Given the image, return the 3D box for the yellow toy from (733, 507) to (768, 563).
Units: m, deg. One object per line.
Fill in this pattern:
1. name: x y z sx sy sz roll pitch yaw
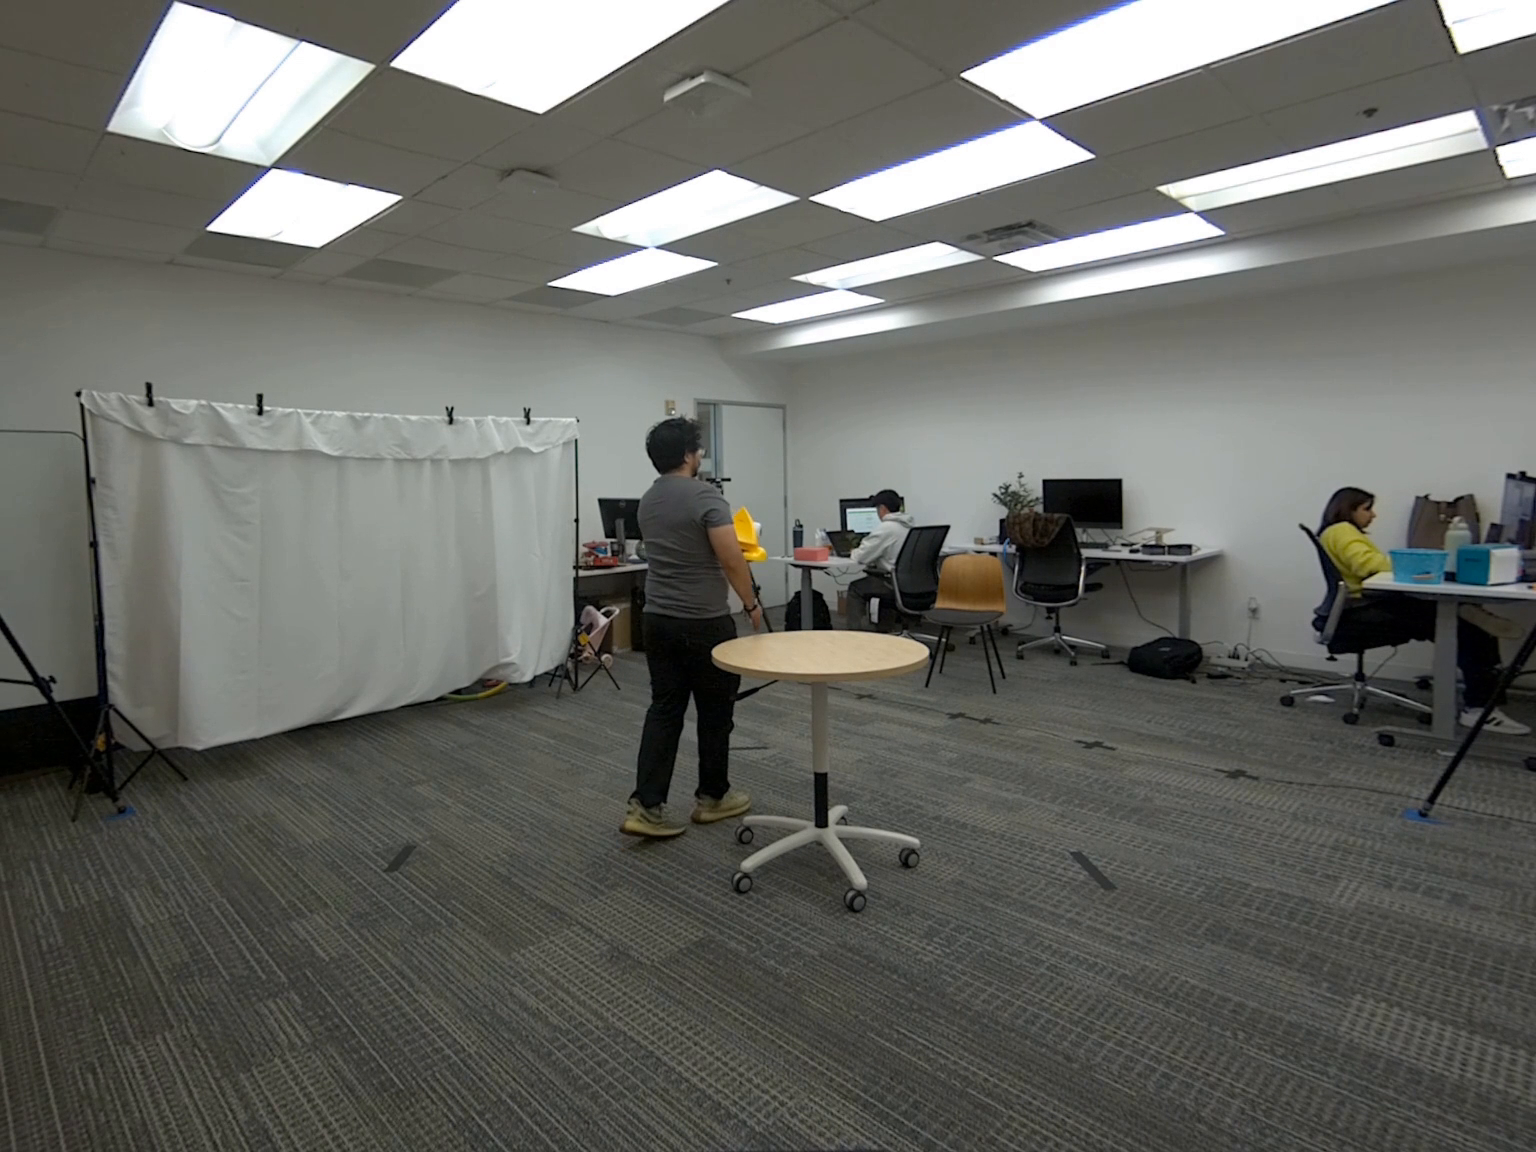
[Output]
1. yellow toy: -0.092 -0.199 3.896 0.211 0.230 0.188 13 7 33
